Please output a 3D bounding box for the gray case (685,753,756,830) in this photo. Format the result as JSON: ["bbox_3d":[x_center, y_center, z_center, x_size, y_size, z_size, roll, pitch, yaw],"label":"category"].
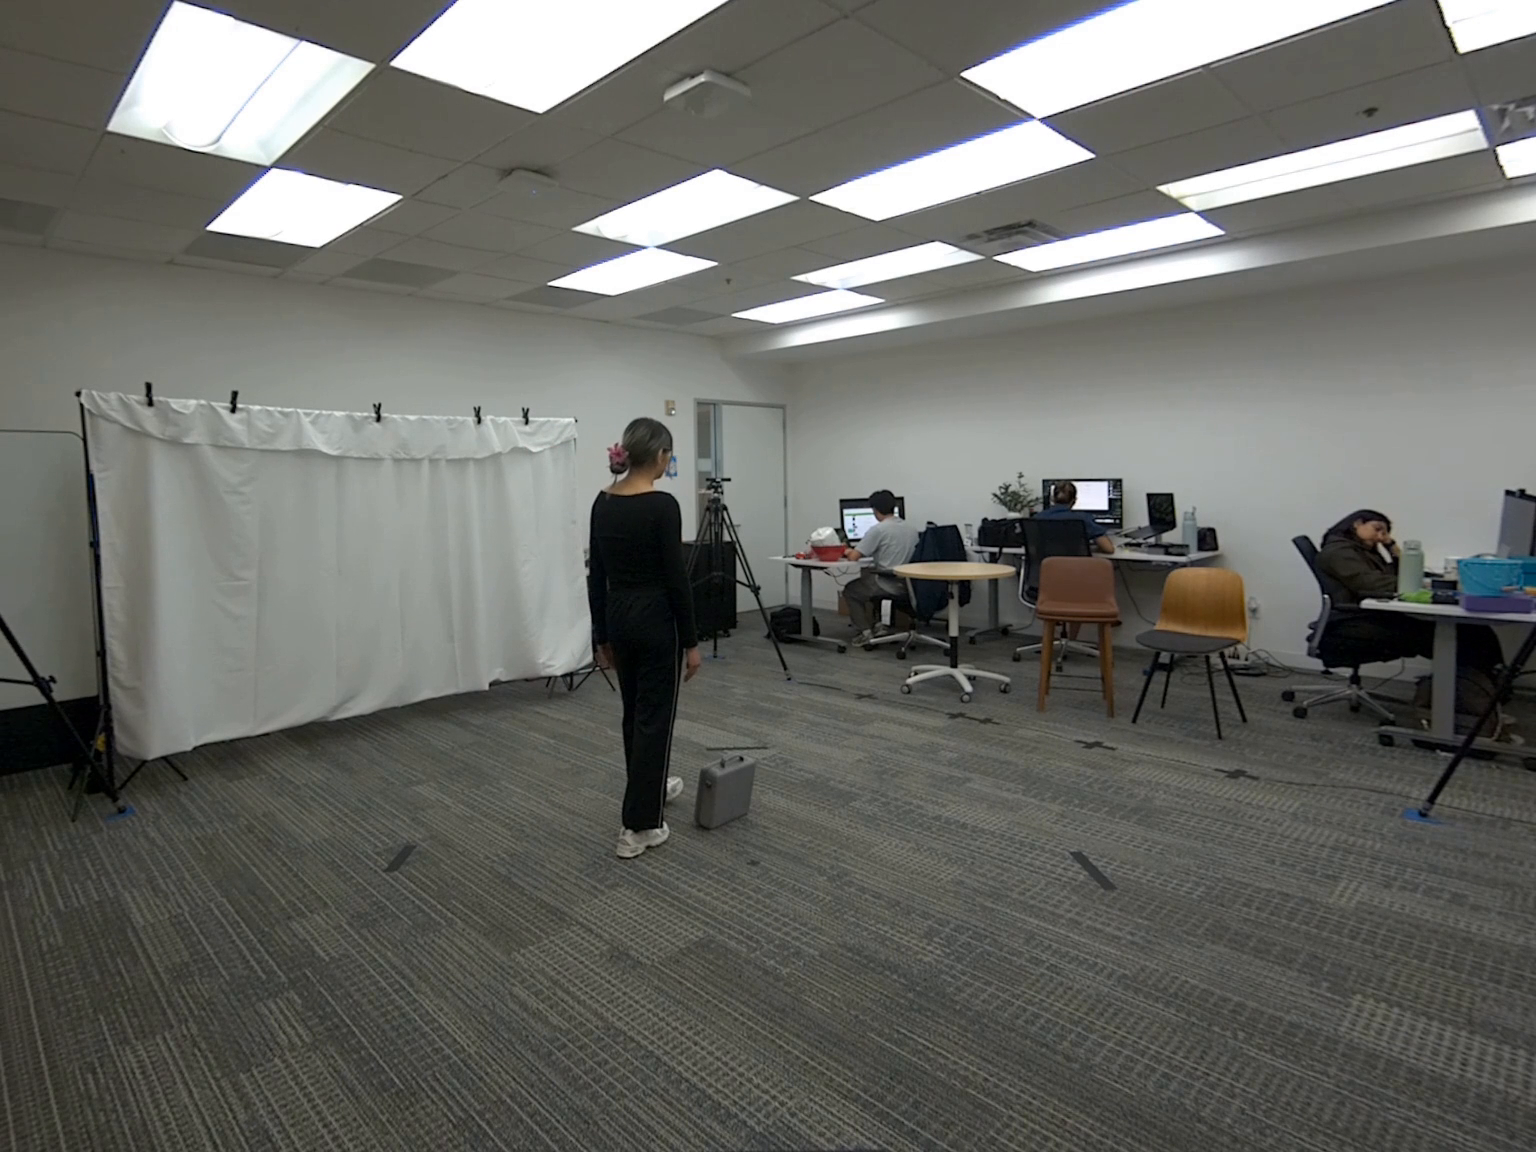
[{"bbox_3d":[-0.168,0.869,3.482,0.108,0.258,0.250,18,16,40],"label":"gray case"}]
